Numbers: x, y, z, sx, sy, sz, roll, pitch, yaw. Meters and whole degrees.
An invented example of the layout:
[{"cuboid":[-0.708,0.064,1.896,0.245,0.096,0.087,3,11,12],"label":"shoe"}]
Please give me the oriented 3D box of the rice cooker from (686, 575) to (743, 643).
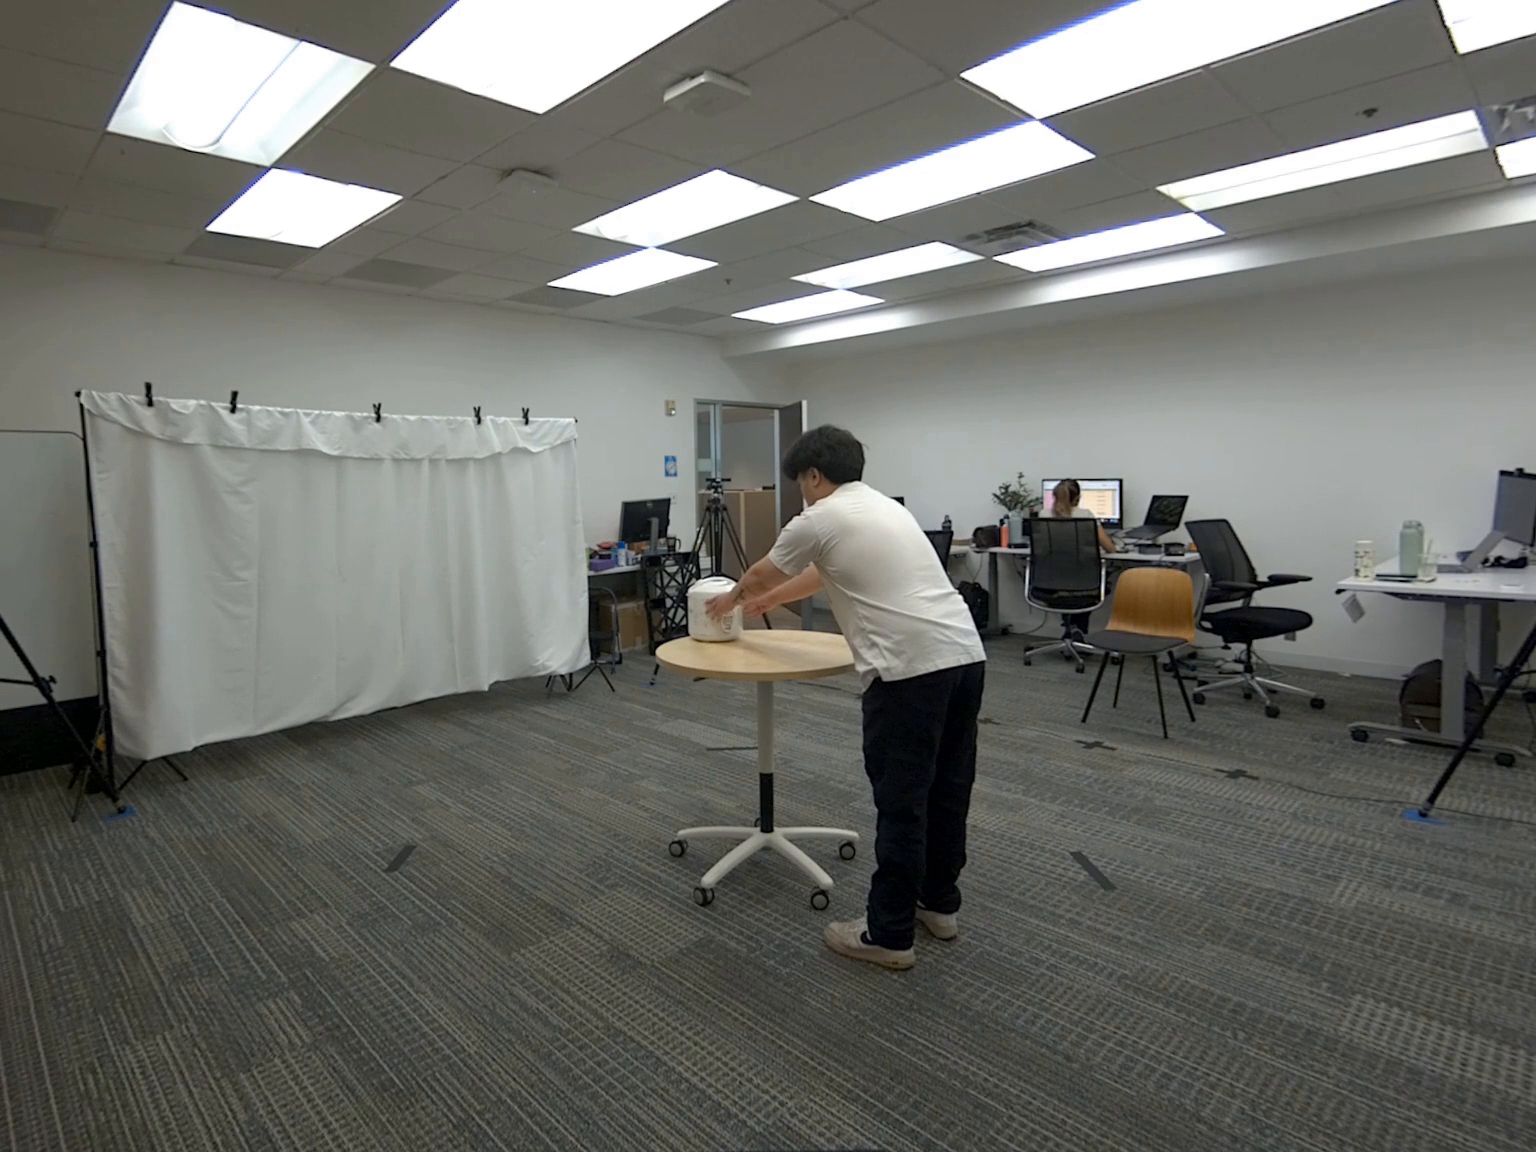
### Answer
[{"cuboid":[-0.193,0.121,3.218,0.216,0.232,0.222,-3,3,-26],"label":"rice cooker"}]
